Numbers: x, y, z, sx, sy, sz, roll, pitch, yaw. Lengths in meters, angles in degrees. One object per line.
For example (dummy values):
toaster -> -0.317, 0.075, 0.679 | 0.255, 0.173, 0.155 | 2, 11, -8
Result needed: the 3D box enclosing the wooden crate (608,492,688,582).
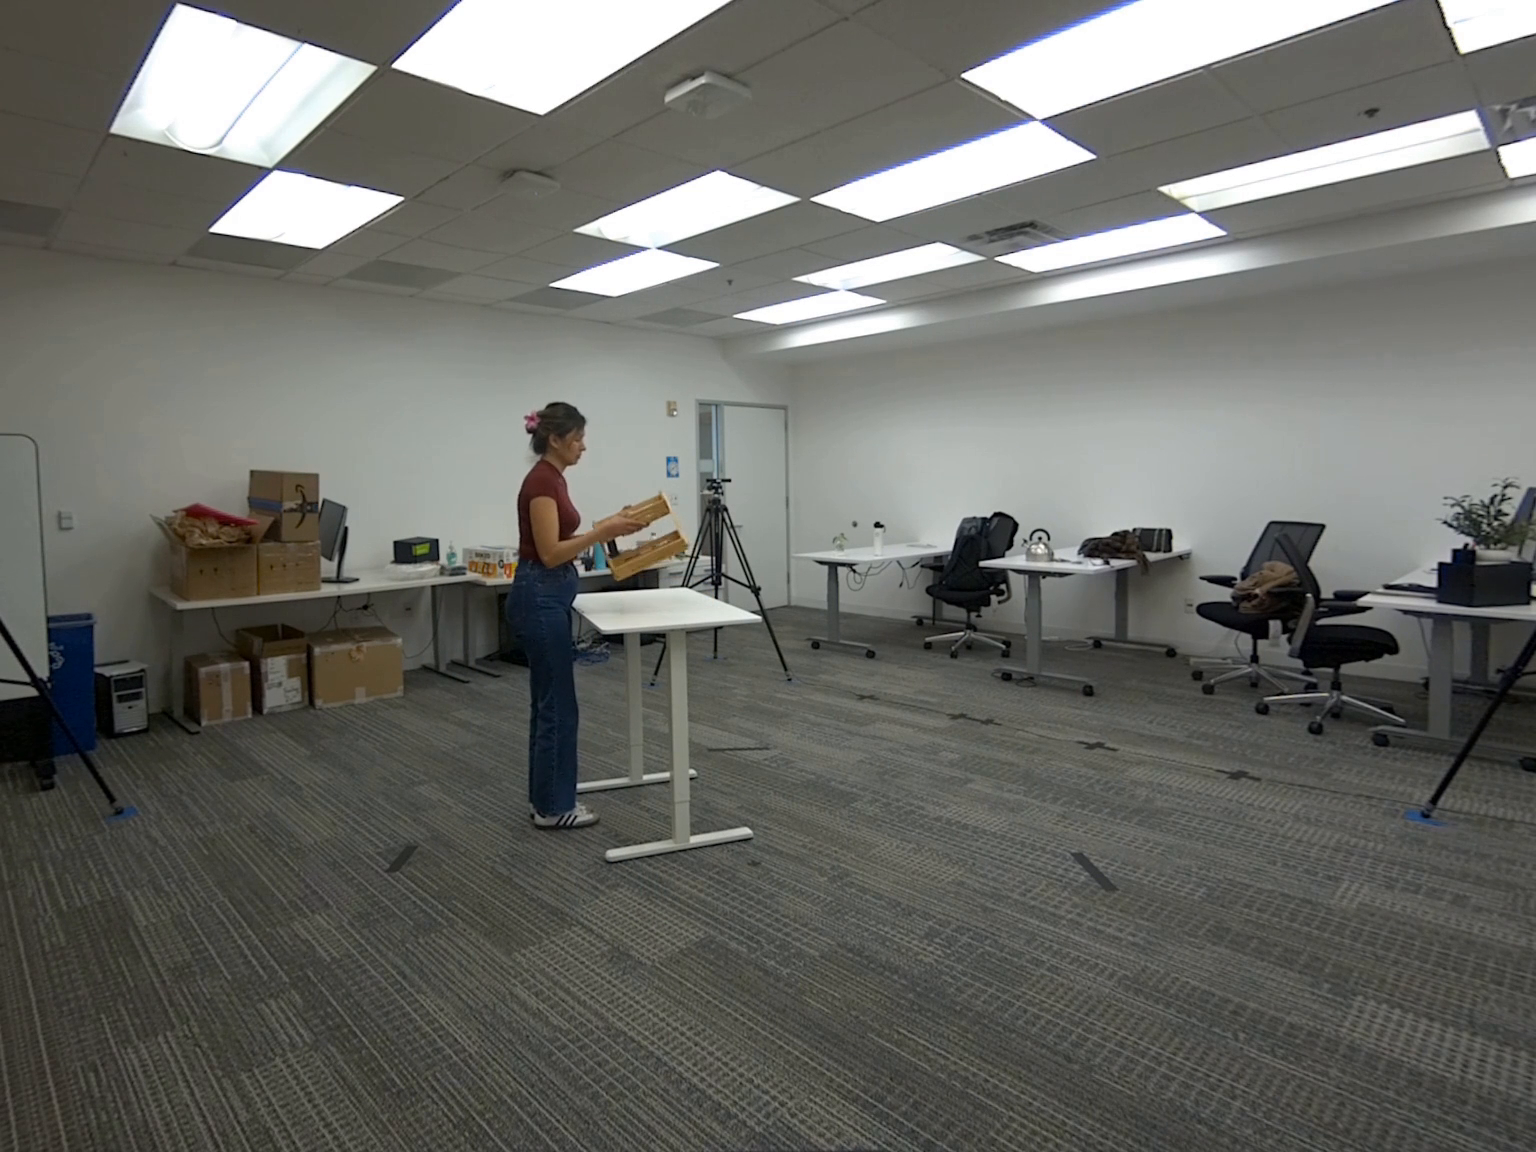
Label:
wooden crate -> -0.517, -0.160, 3.424 | 0.324, 0.273, 0.303 | -25, 2, -4
